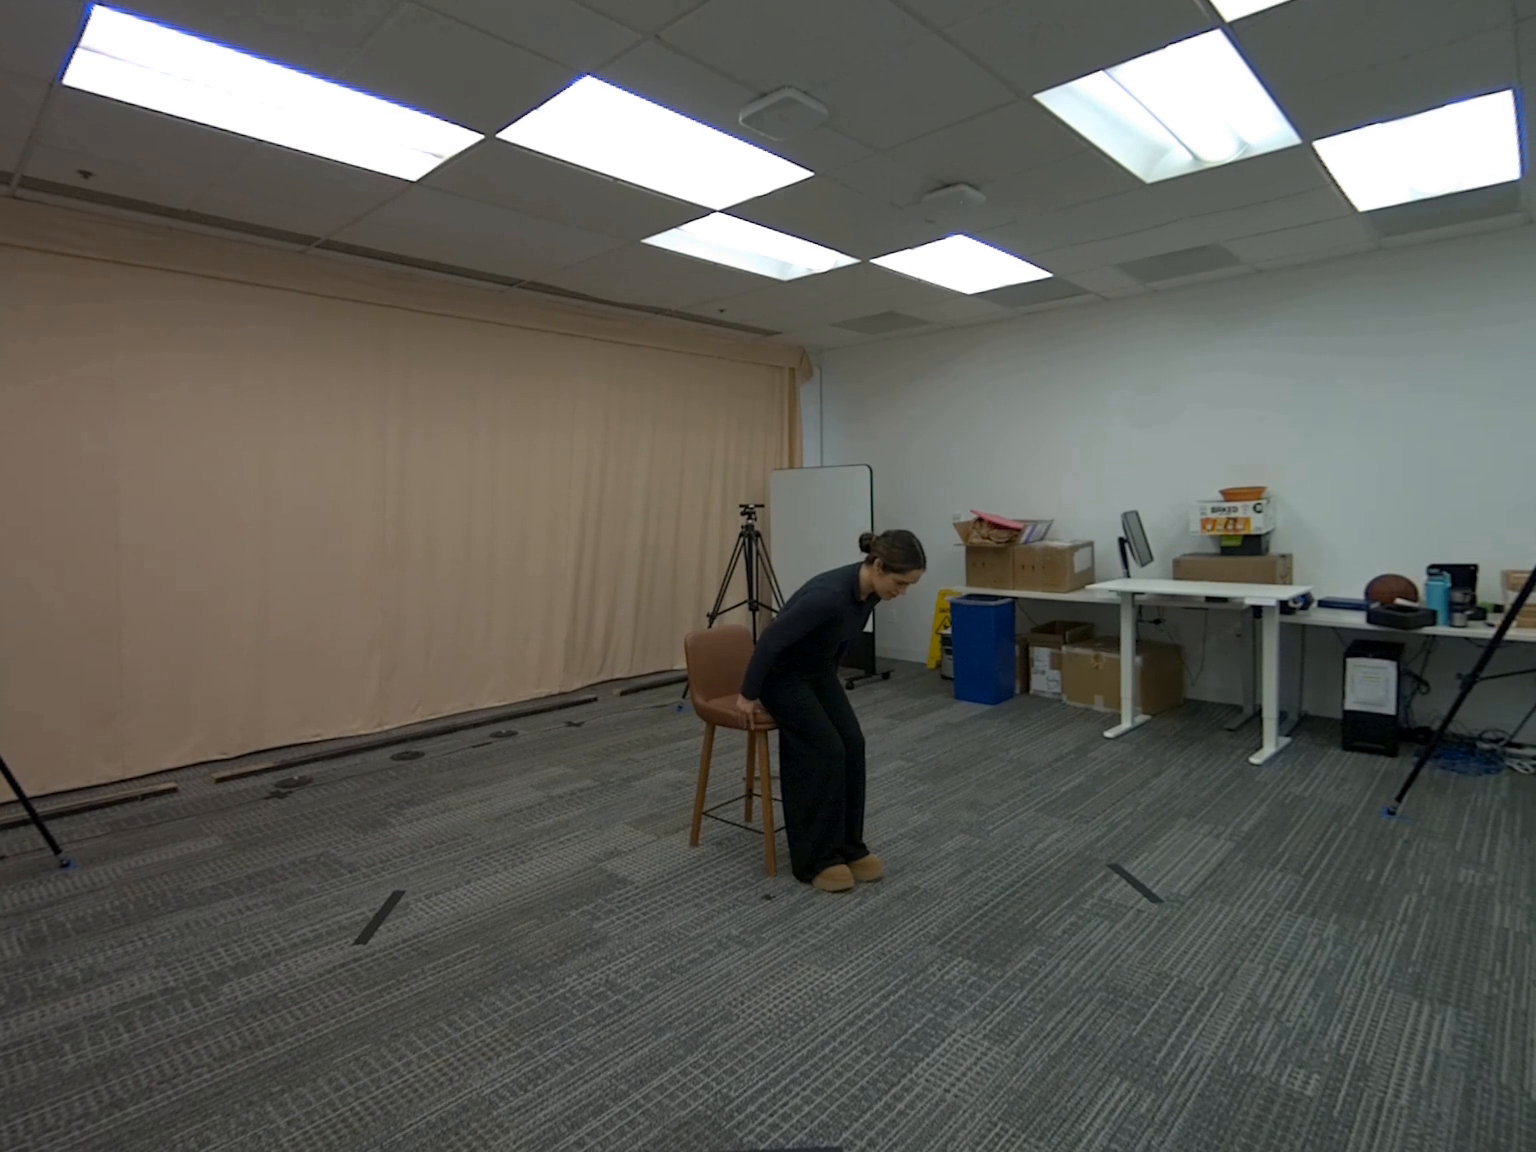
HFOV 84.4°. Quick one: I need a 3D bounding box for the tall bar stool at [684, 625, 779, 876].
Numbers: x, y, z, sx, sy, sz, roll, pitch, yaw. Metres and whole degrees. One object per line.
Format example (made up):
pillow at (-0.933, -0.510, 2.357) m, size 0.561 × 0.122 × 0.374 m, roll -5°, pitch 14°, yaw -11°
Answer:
tall bar stool at (-0.042, 0.665, 3.425) m, size 0.482 × 0.888 × 0.443 m, roll -1°, pitch 3°, yaw 41°
